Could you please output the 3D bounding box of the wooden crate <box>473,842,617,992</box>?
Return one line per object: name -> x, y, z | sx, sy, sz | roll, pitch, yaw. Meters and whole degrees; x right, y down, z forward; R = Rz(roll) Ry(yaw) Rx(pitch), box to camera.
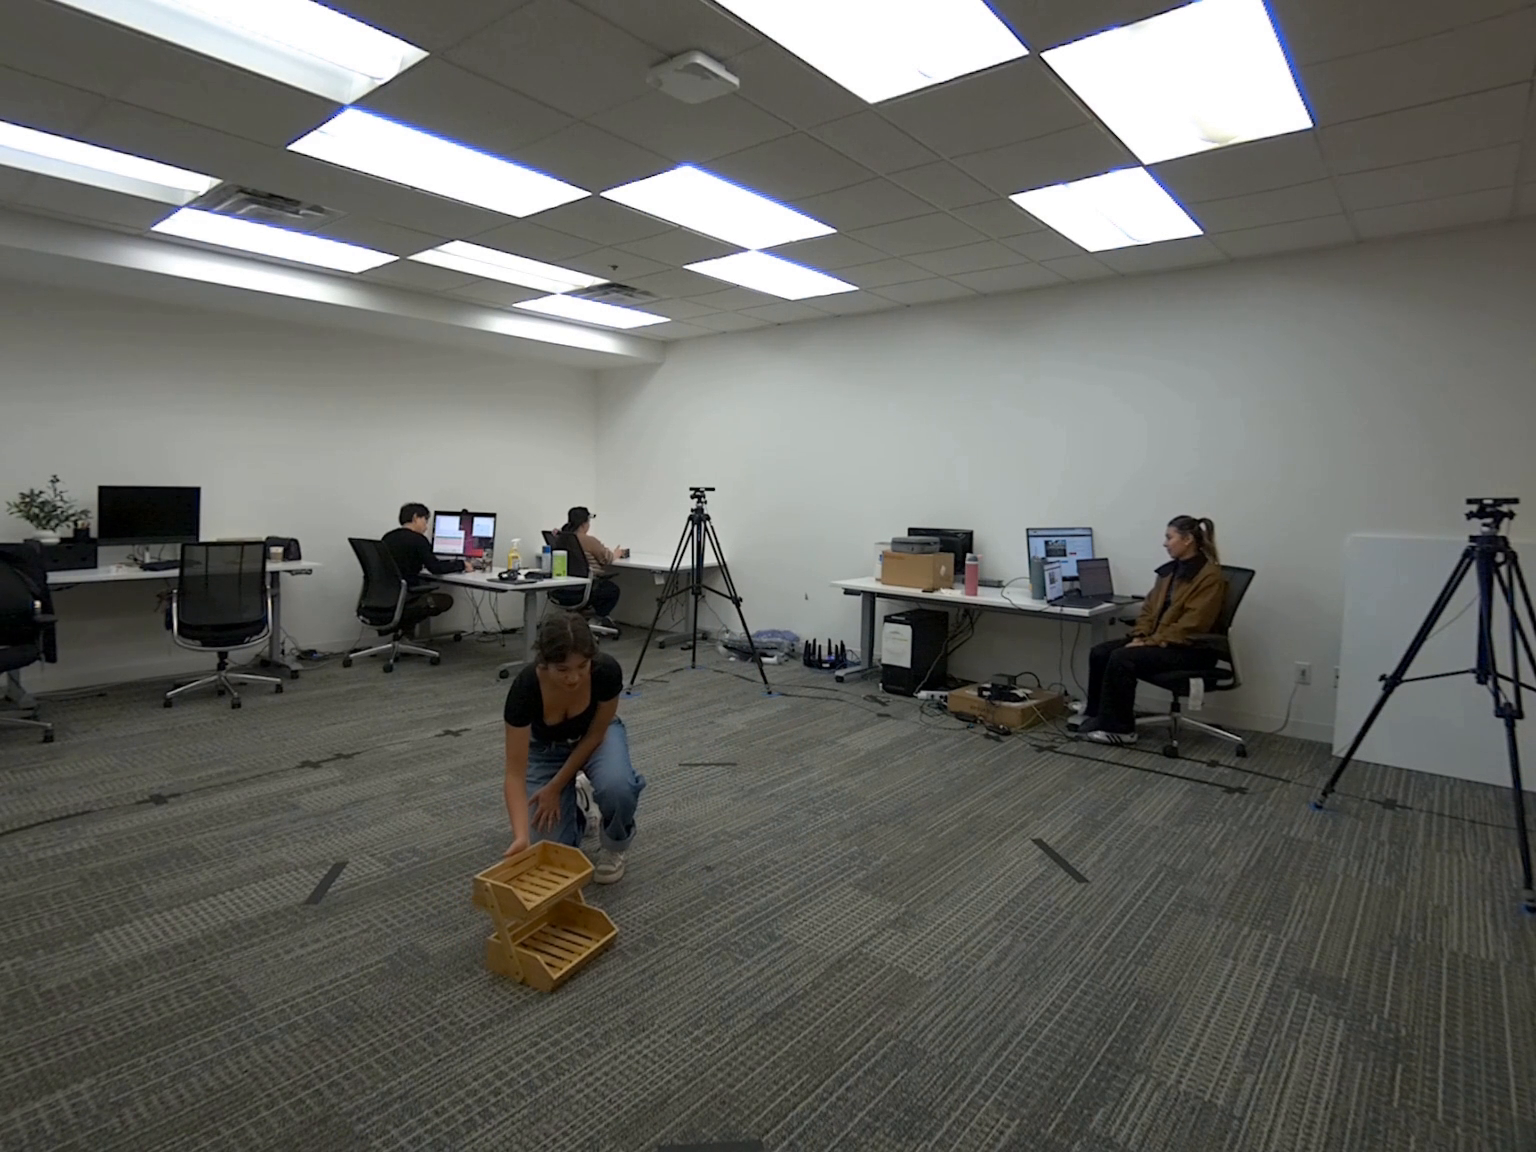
wooden crate -> -0.657, 0.984, 2.511 | 0.310, 0.272, 0.317 | 3, 5, 28
